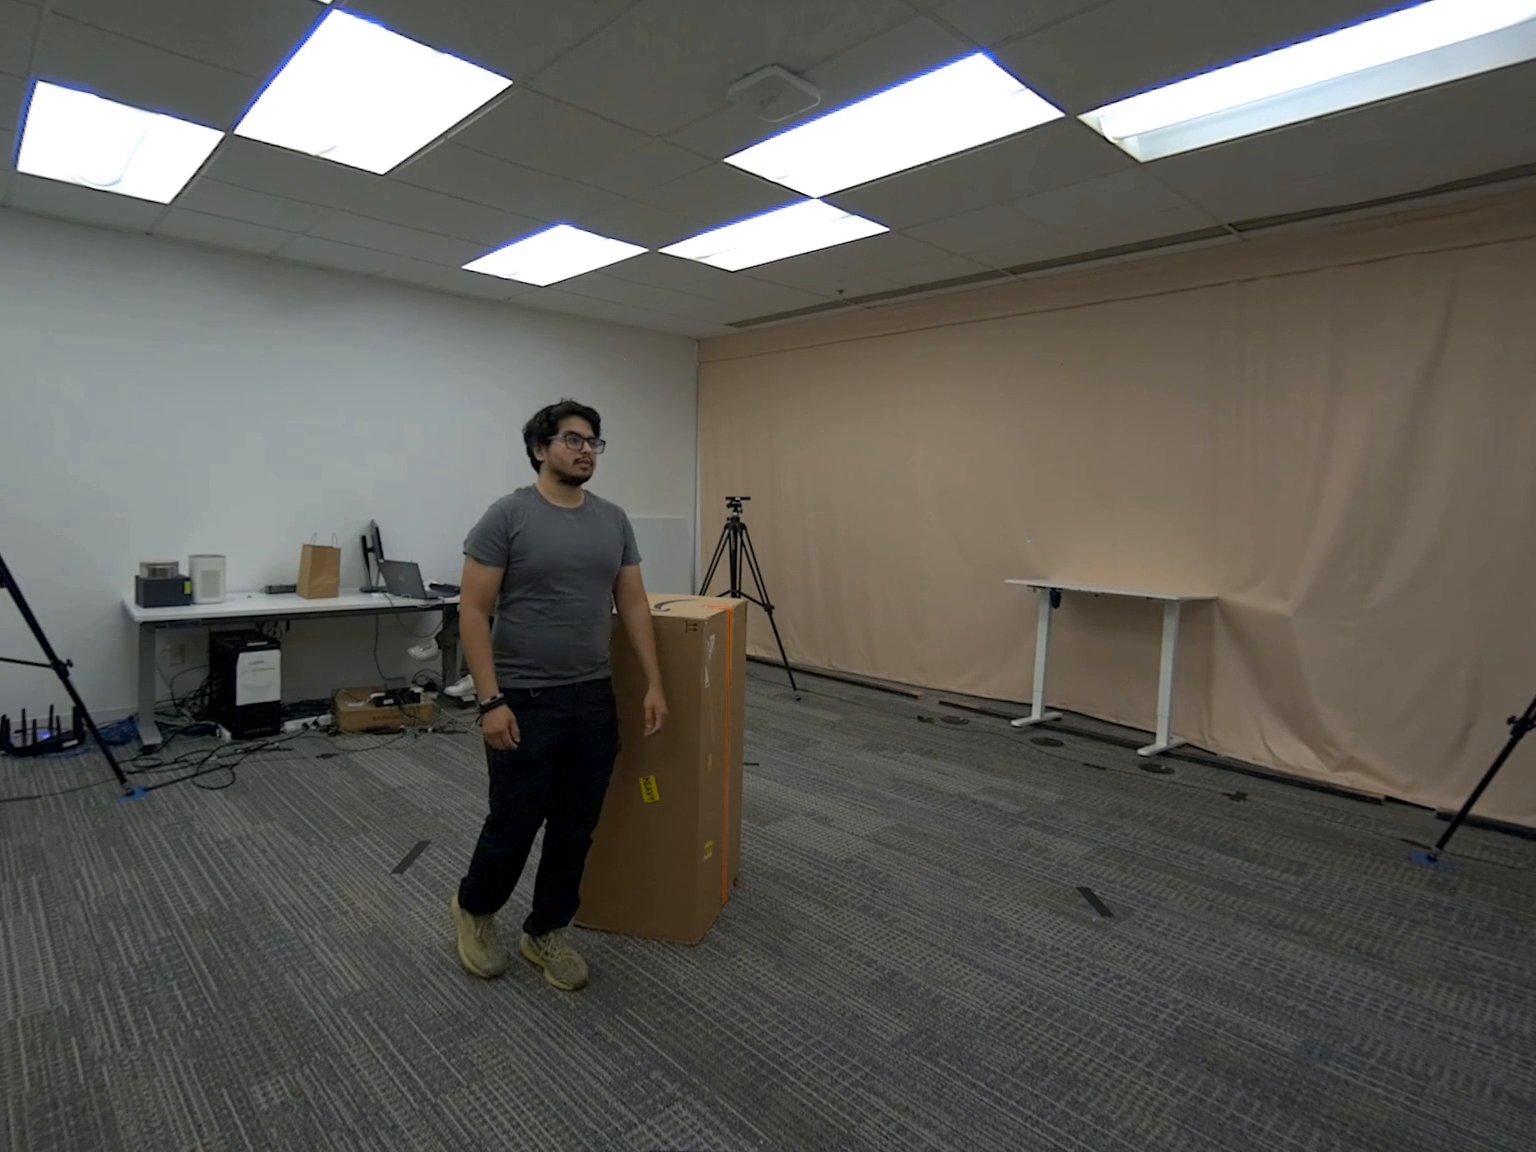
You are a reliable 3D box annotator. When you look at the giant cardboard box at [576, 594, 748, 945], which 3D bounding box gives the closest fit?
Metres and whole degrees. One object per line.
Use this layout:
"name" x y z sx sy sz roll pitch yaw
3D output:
"giant cardboard box" -0.349 0.609 2.913 0.431 1.024 0.572 2 3 14
